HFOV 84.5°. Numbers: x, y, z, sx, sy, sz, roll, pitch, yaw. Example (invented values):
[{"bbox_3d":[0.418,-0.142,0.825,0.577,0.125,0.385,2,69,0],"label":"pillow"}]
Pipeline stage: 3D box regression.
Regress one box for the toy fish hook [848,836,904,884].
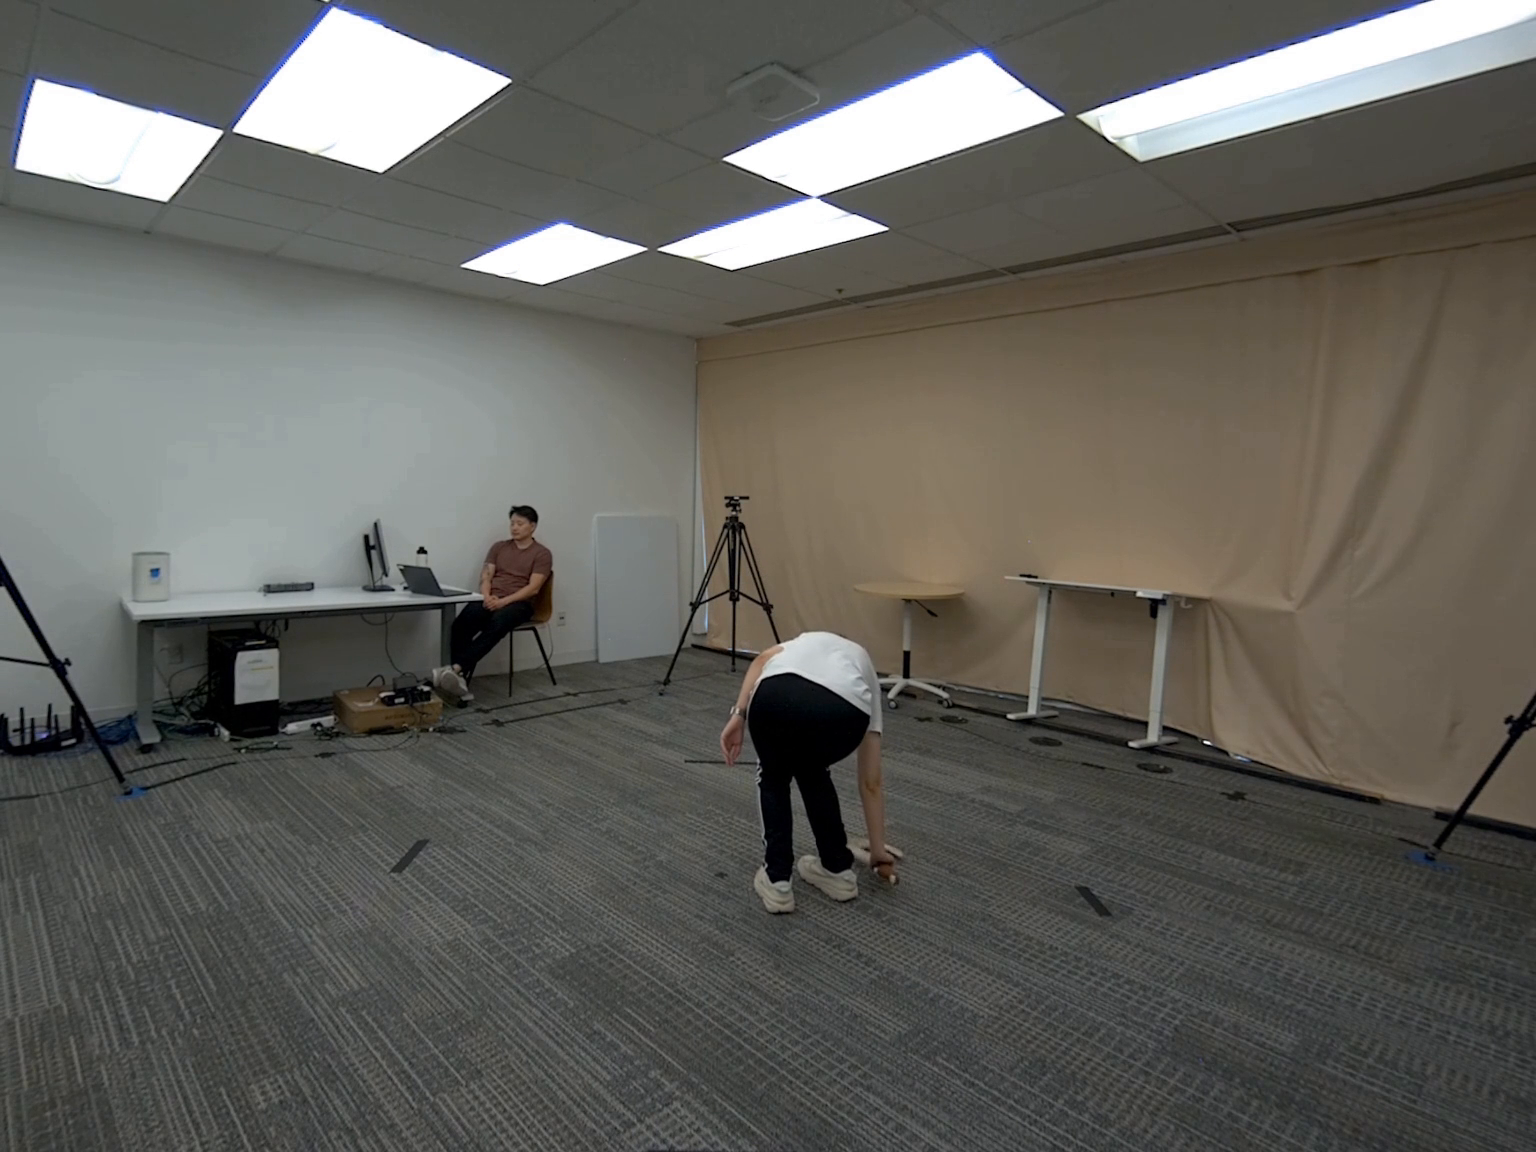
[{"bbox_3d":[0.430,1.063,3.159,0.222,0.048,0.510,2,-1,-12],"label":"toy fish hook"}]
